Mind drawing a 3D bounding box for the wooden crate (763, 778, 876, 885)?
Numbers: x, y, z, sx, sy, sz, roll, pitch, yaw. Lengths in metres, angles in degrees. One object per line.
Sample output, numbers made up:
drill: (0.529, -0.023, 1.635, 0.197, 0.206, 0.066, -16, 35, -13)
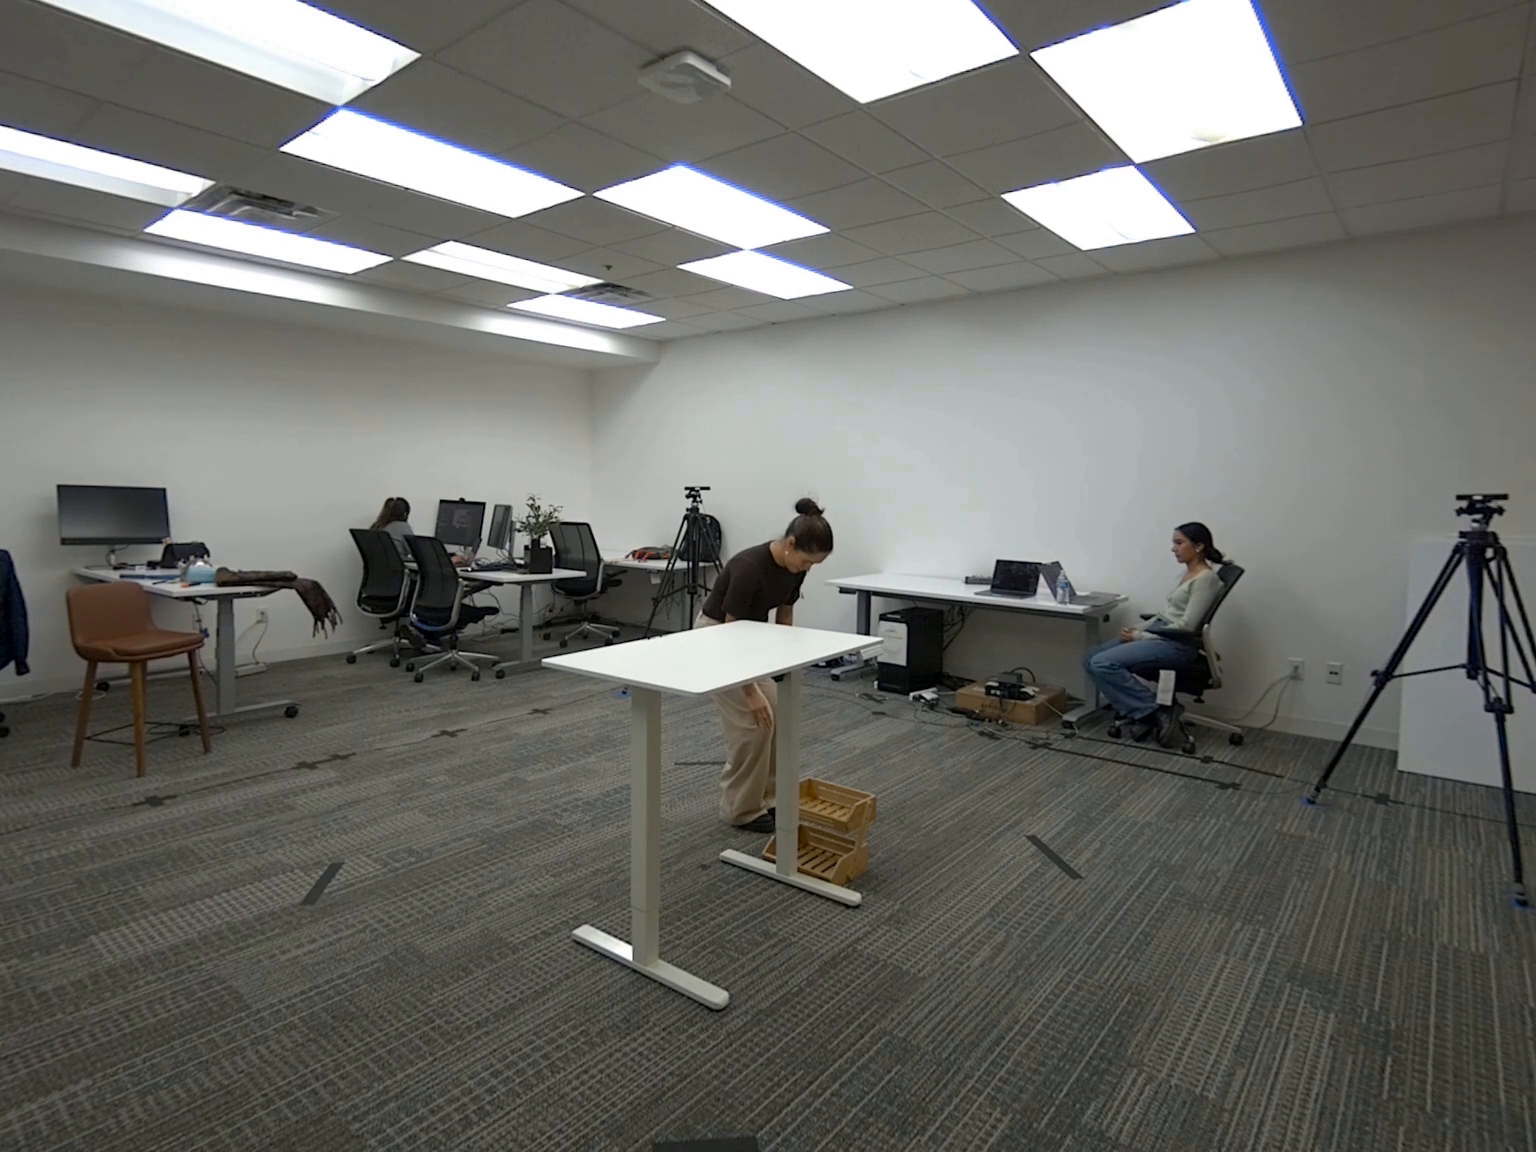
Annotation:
wooden crate: (0.183, 0.934, 3.144, 0.335, 0.273, 0.293, 4, 4, 37)
